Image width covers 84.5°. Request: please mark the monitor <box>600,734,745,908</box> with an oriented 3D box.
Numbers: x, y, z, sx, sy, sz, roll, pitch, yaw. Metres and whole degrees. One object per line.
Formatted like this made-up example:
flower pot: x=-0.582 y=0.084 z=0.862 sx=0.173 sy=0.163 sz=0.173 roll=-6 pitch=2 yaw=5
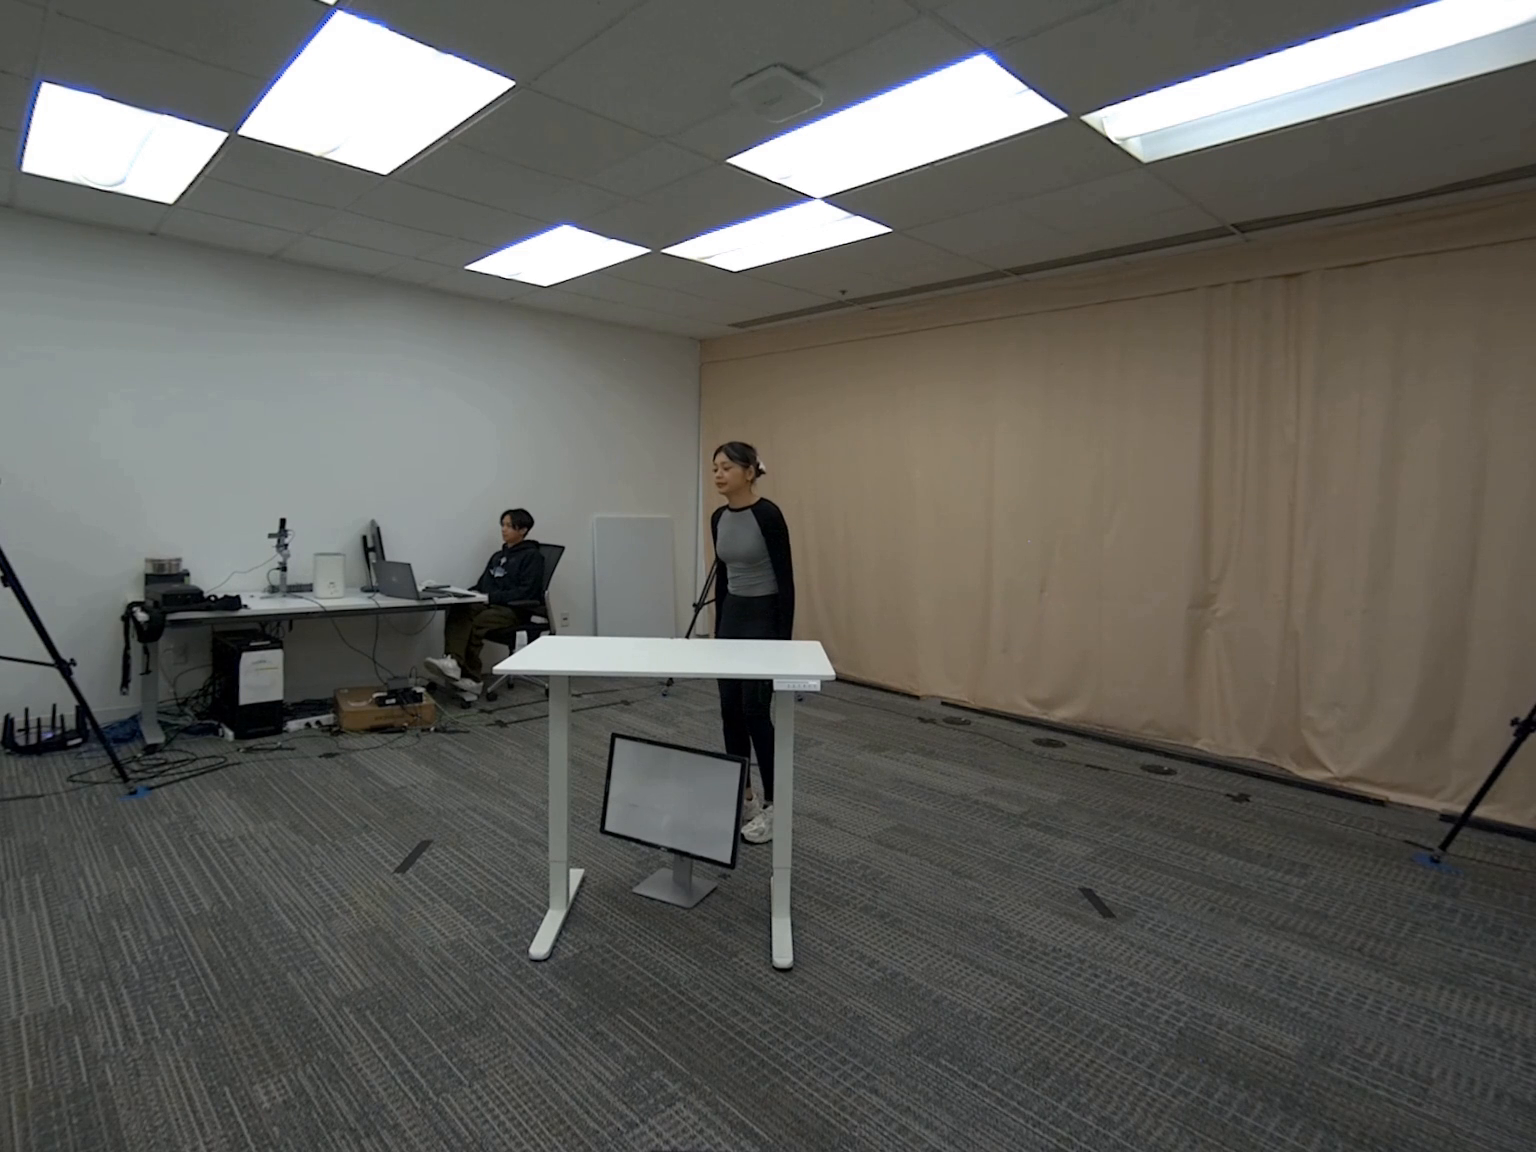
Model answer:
monitor: x=-0.331 y=0.858 z=2.971 sx=0.550 sy=0.520 sz=0.184 roll=3 pitch=6 yaw=27
